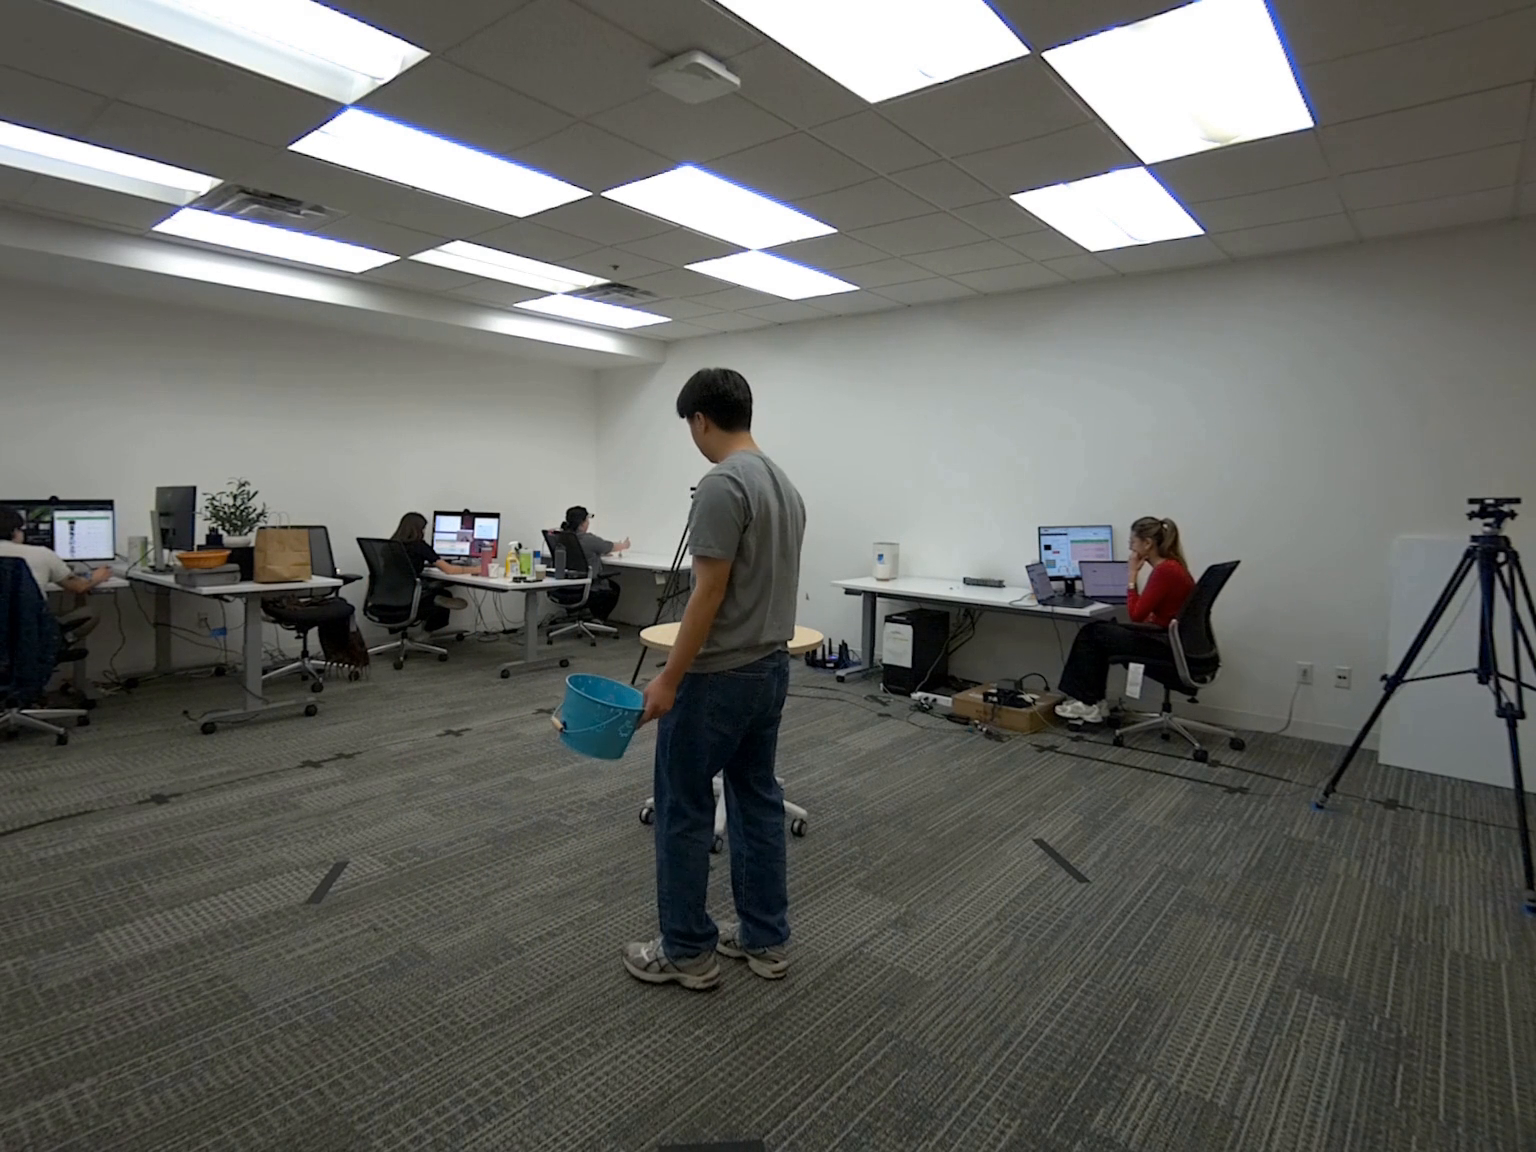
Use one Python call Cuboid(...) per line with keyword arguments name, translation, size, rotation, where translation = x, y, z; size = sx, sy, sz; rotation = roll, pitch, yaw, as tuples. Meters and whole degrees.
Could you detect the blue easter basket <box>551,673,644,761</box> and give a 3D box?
Cuboid(name="blue easter basket", translation=(-0.454, 0.375, 2.235), size=(0.243, 0.155, 0.245), rotation=(16, 5, -3))
